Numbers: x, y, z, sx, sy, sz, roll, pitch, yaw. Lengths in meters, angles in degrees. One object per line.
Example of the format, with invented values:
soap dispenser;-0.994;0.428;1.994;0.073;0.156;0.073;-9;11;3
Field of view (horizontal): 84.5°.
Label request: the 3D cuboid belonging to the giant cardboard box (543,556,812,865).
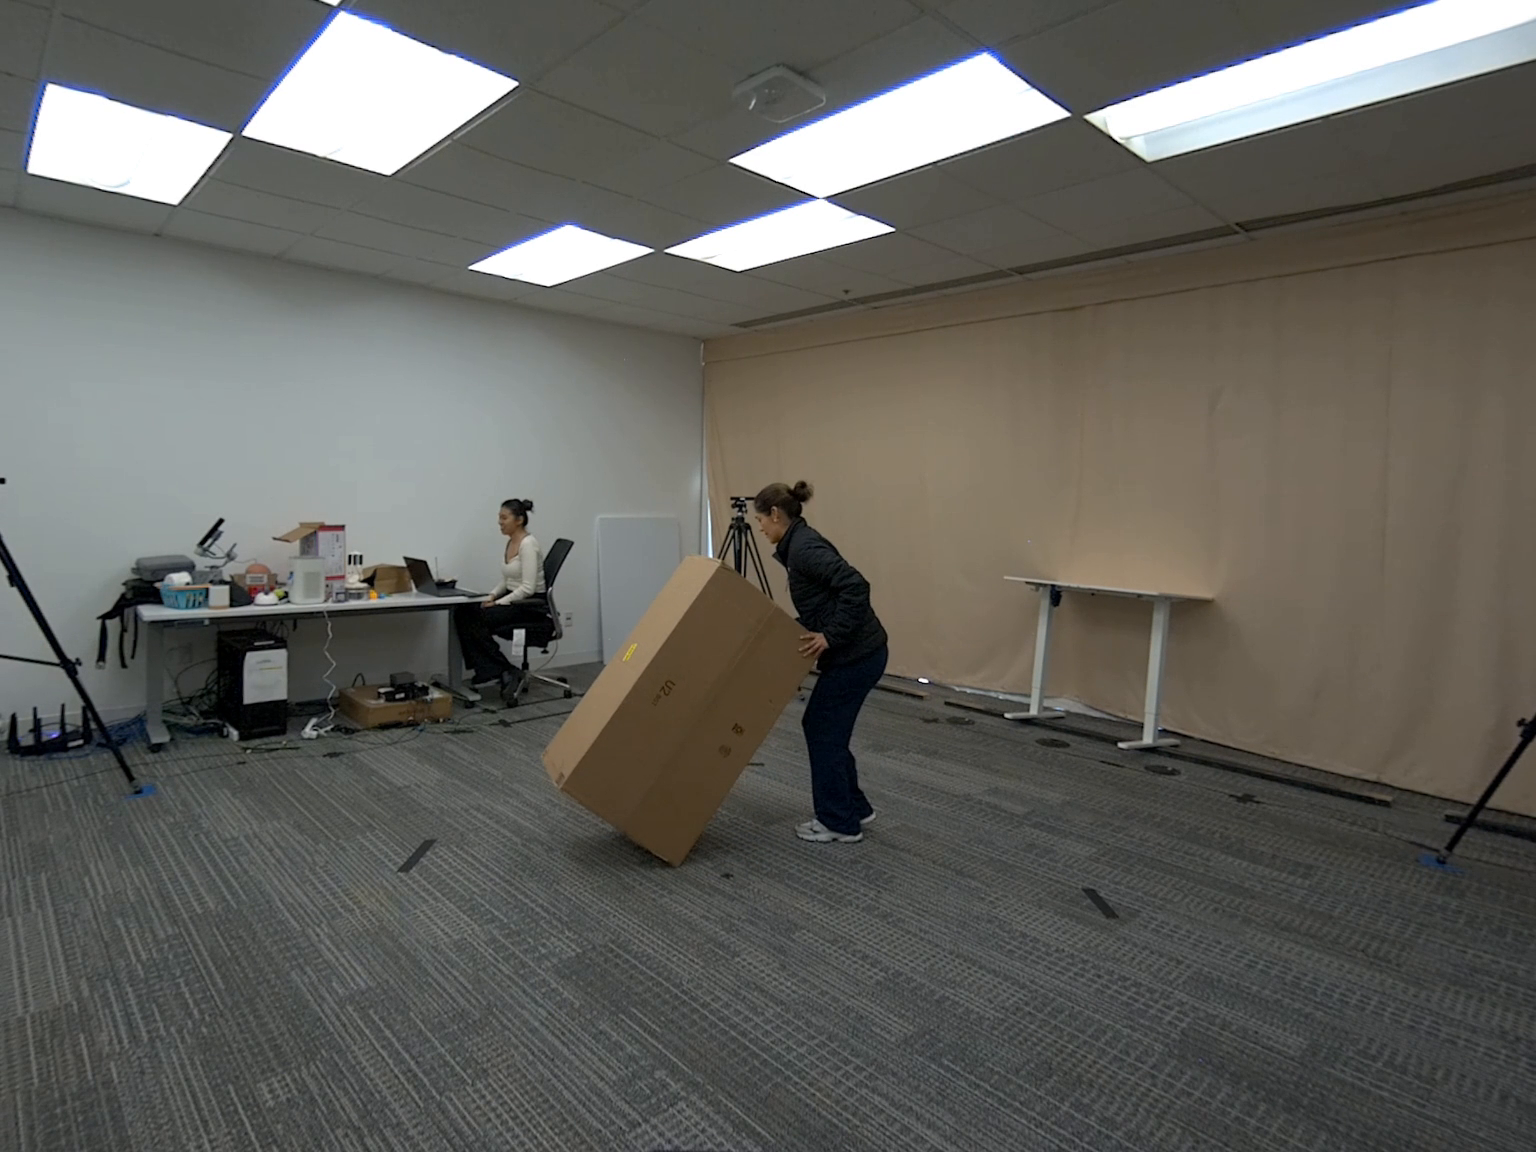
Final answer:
giant cardboard box;-0.343;0.502;3.342;0.572;1.028;0.455;39;-12;-20
